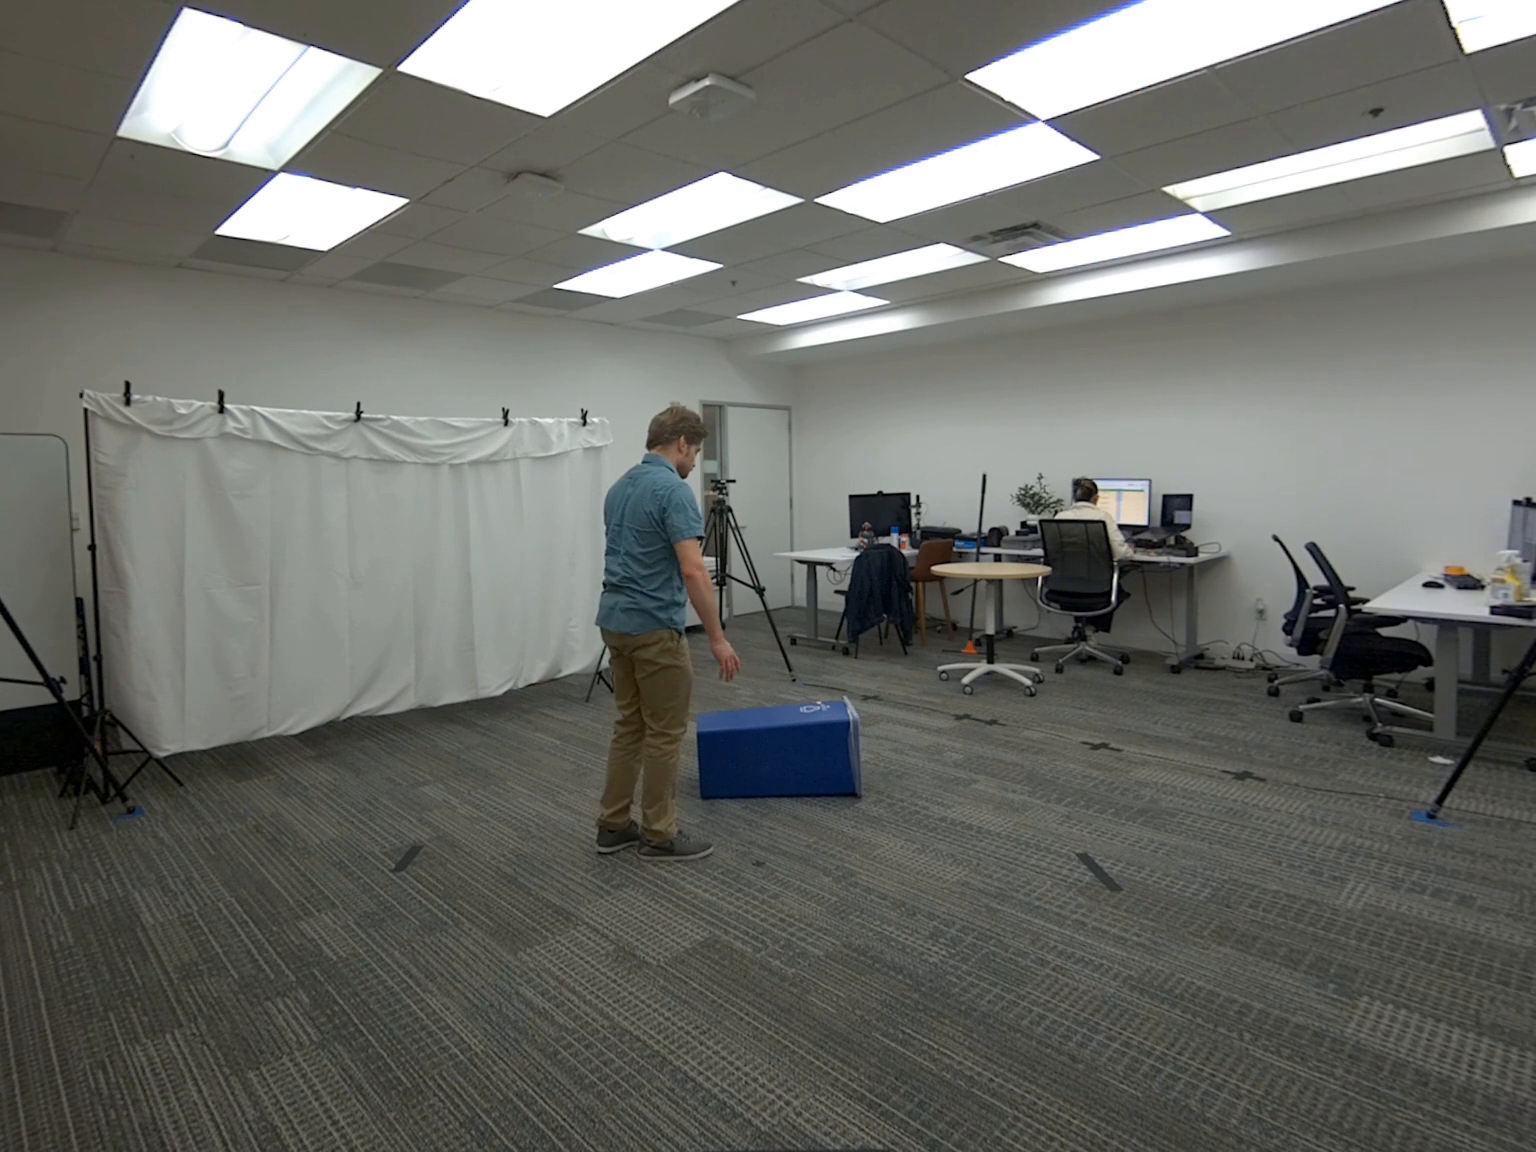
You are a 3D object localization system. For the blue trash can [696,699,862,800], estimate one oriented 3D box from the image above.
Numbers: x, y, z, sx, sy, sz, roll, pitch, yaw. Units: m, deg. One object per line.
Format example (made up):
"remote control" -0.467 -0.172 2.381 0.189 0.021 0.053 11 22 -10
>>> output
"blue trash can" 0.041 0.794 3.884 0.712 0.376 0.376 -4 5 -2
